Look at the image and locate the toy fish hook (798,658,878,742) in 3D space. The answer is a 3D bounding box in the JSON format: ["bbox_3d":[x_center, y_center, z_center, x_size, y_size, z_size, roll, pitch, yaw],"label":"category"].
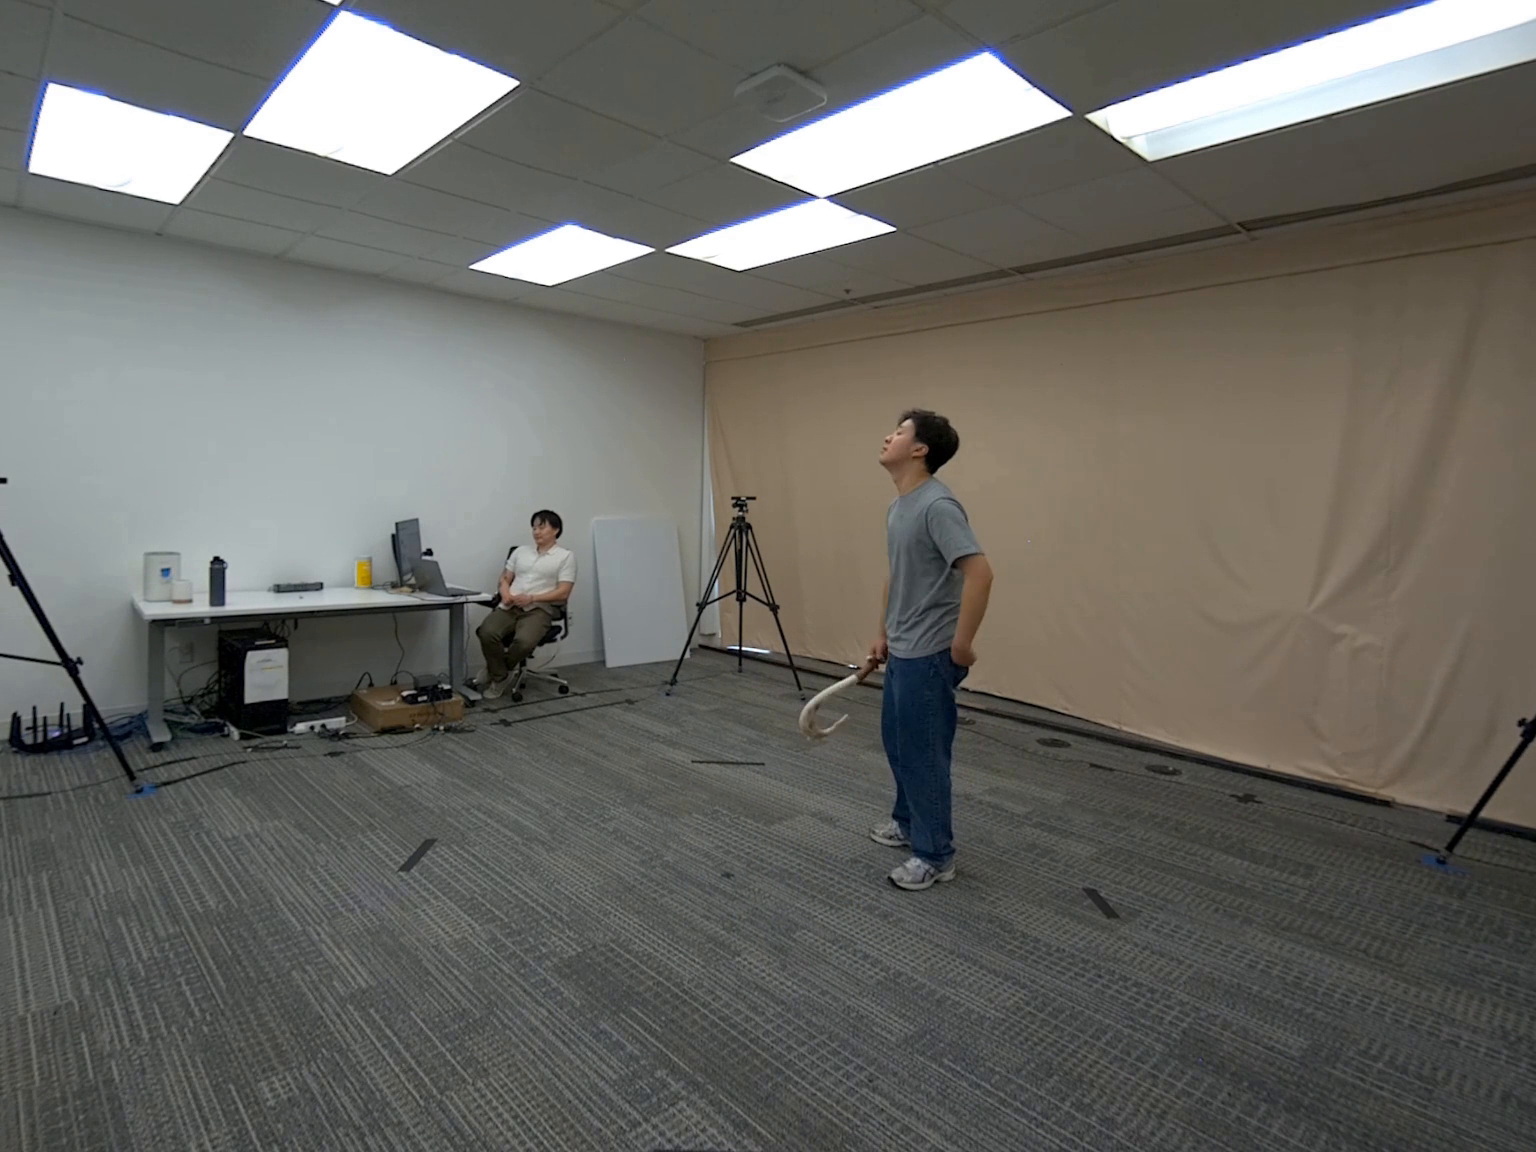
[{"bbox_3d":[0.344,0.492,3.412,0.506,0.218,0.050,-38,39,-8],"label":"toy fish hook"}]
